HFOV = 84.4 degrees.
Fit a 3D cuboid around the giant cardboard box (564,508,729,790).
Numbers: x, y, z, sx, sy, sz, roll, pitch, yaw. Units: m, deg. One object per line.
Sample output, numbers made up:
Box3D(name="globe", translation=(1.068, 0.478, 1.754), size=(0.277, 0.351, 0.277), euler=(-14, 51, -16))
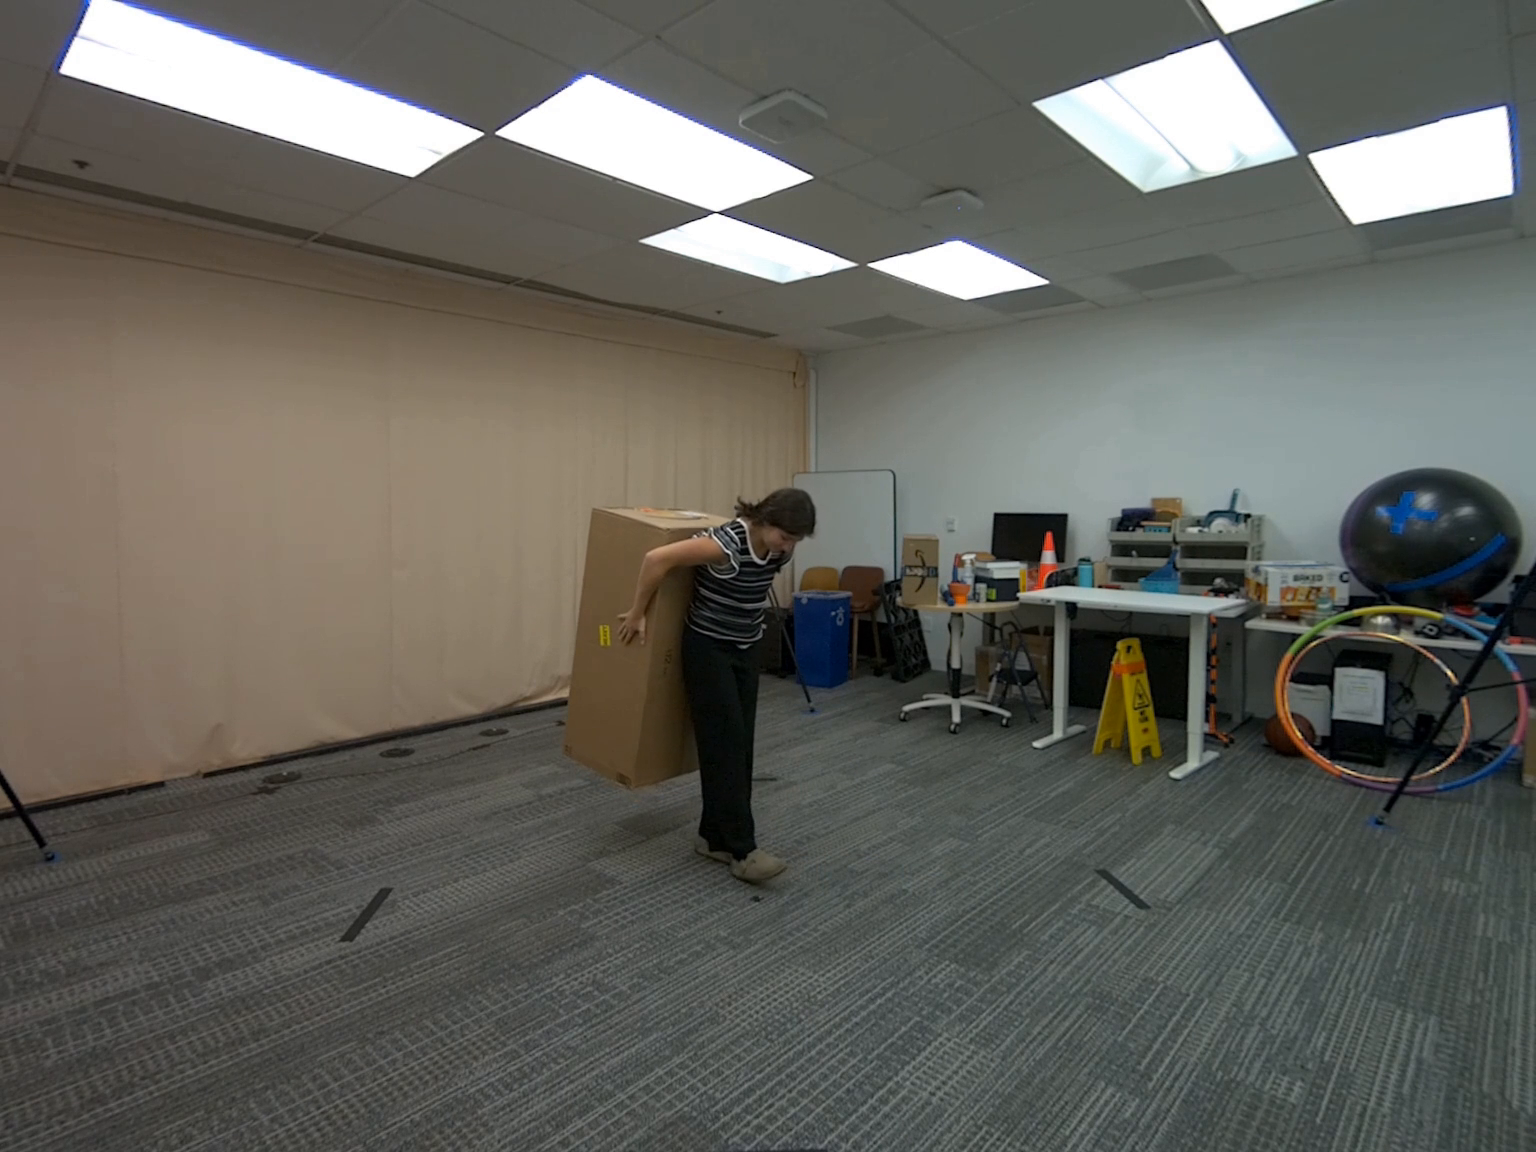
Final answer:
Box3D(name="giant cardboard box", translation=(-0.435, 0.264, 3.467), size=(0.441, 1.021, 0.560), euler=(15, 11, 37))
